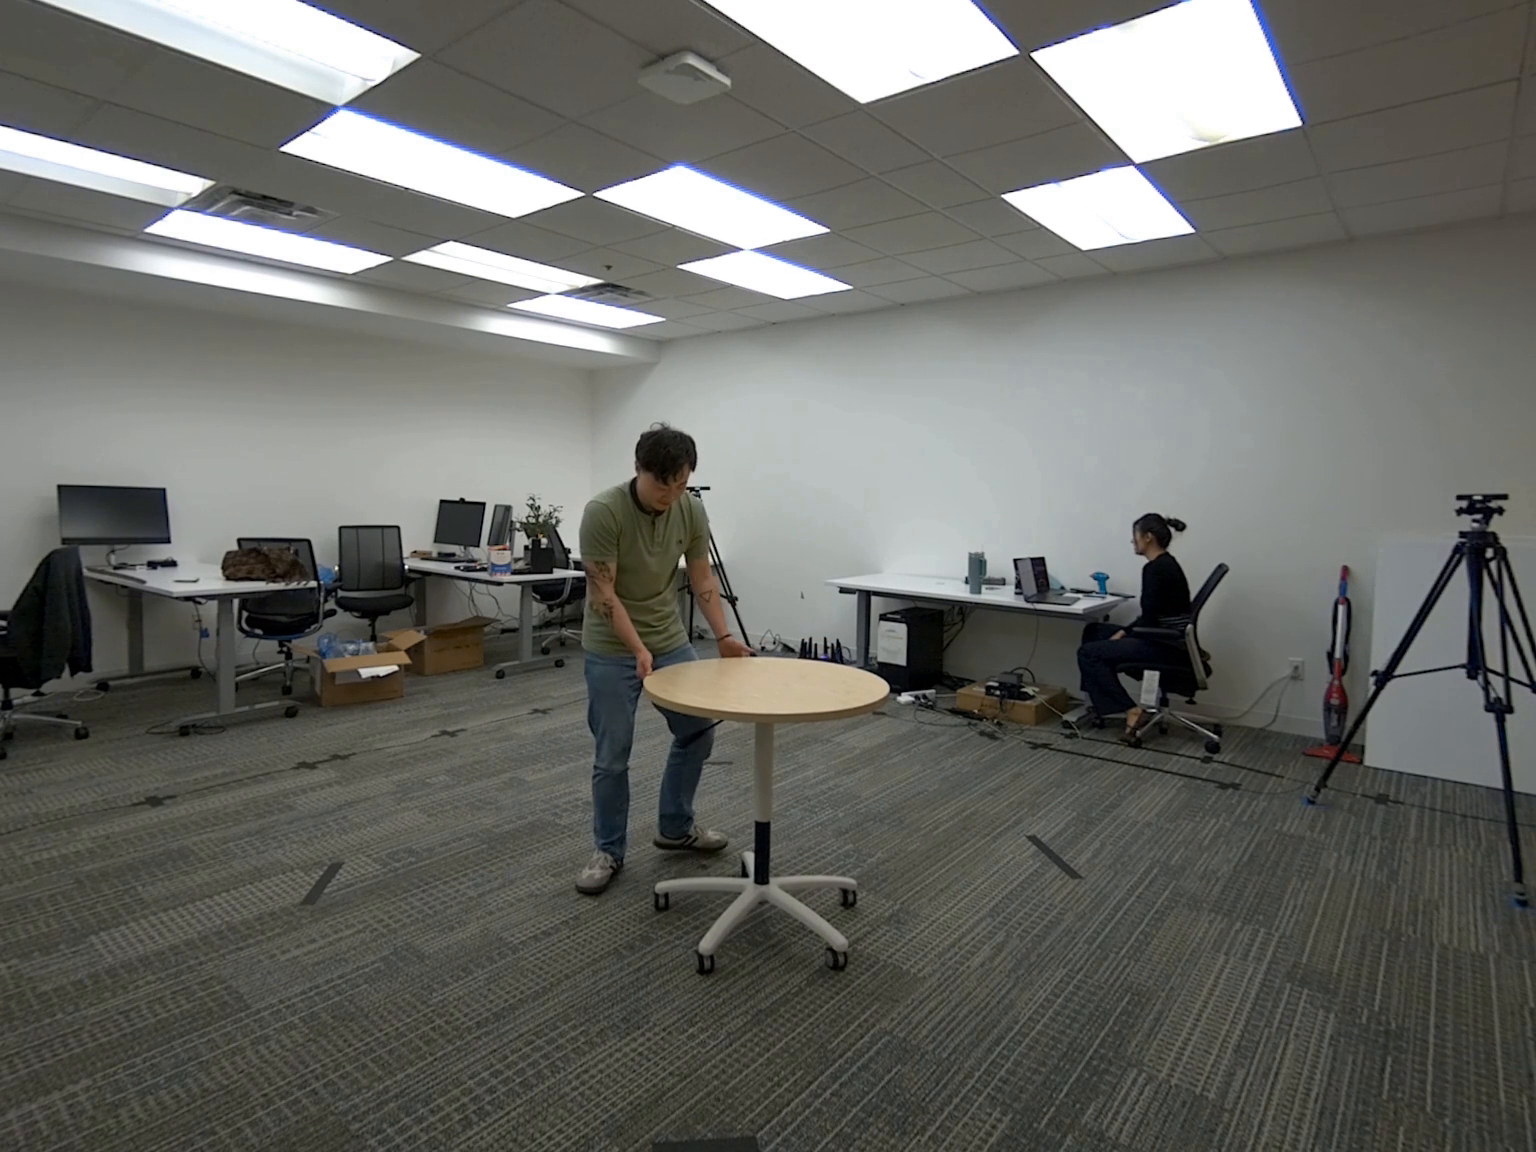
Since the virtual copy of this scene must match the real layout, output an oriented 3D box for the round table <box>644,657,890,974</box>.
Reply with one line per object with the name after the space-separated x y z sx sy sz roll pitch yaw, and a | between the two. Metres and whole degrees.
-0.020 0.720 2.691 0.763 0.791 0.768 1 5 -2 | round table
